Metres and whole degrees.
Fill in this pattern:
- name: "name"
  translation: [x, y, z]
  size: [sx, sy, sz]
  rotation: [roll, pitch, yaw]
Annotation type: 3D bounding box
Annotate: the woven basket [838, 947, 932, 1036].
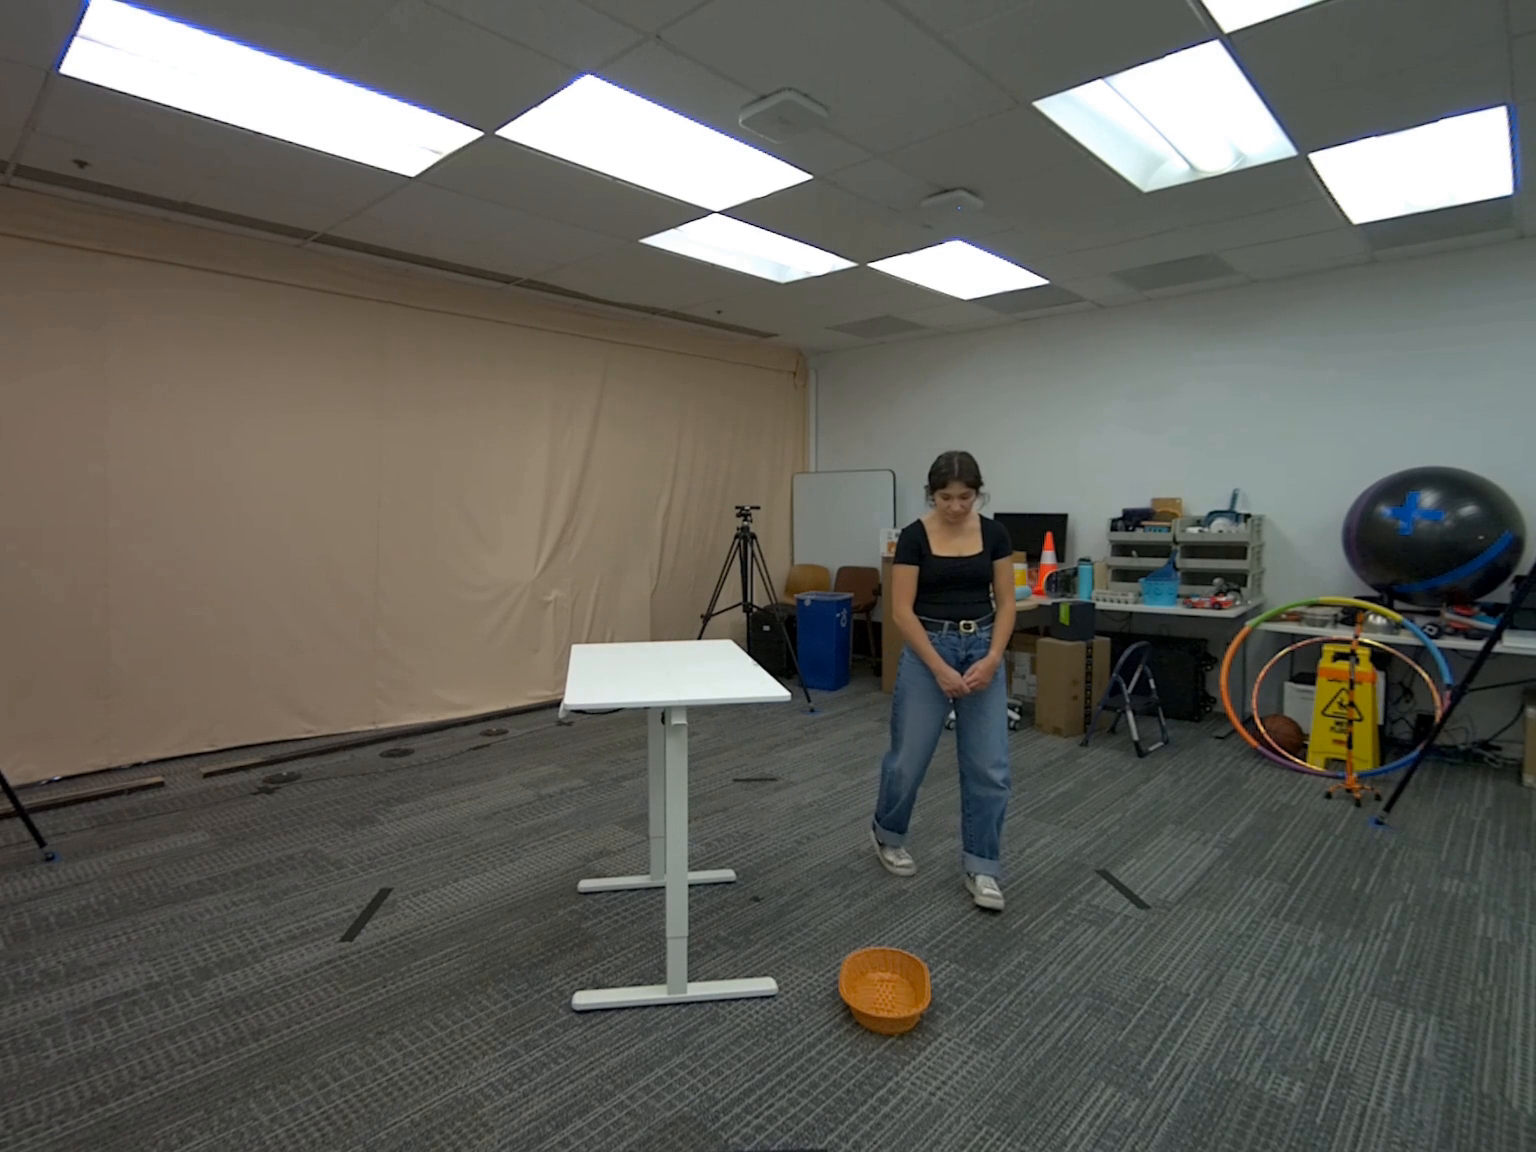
- name: "woven basket"
  translation: [0.326, 1.158, 2.355]
  size: [0.256, 0.073, 0.346]
  rotation: [0, 5, 12]
